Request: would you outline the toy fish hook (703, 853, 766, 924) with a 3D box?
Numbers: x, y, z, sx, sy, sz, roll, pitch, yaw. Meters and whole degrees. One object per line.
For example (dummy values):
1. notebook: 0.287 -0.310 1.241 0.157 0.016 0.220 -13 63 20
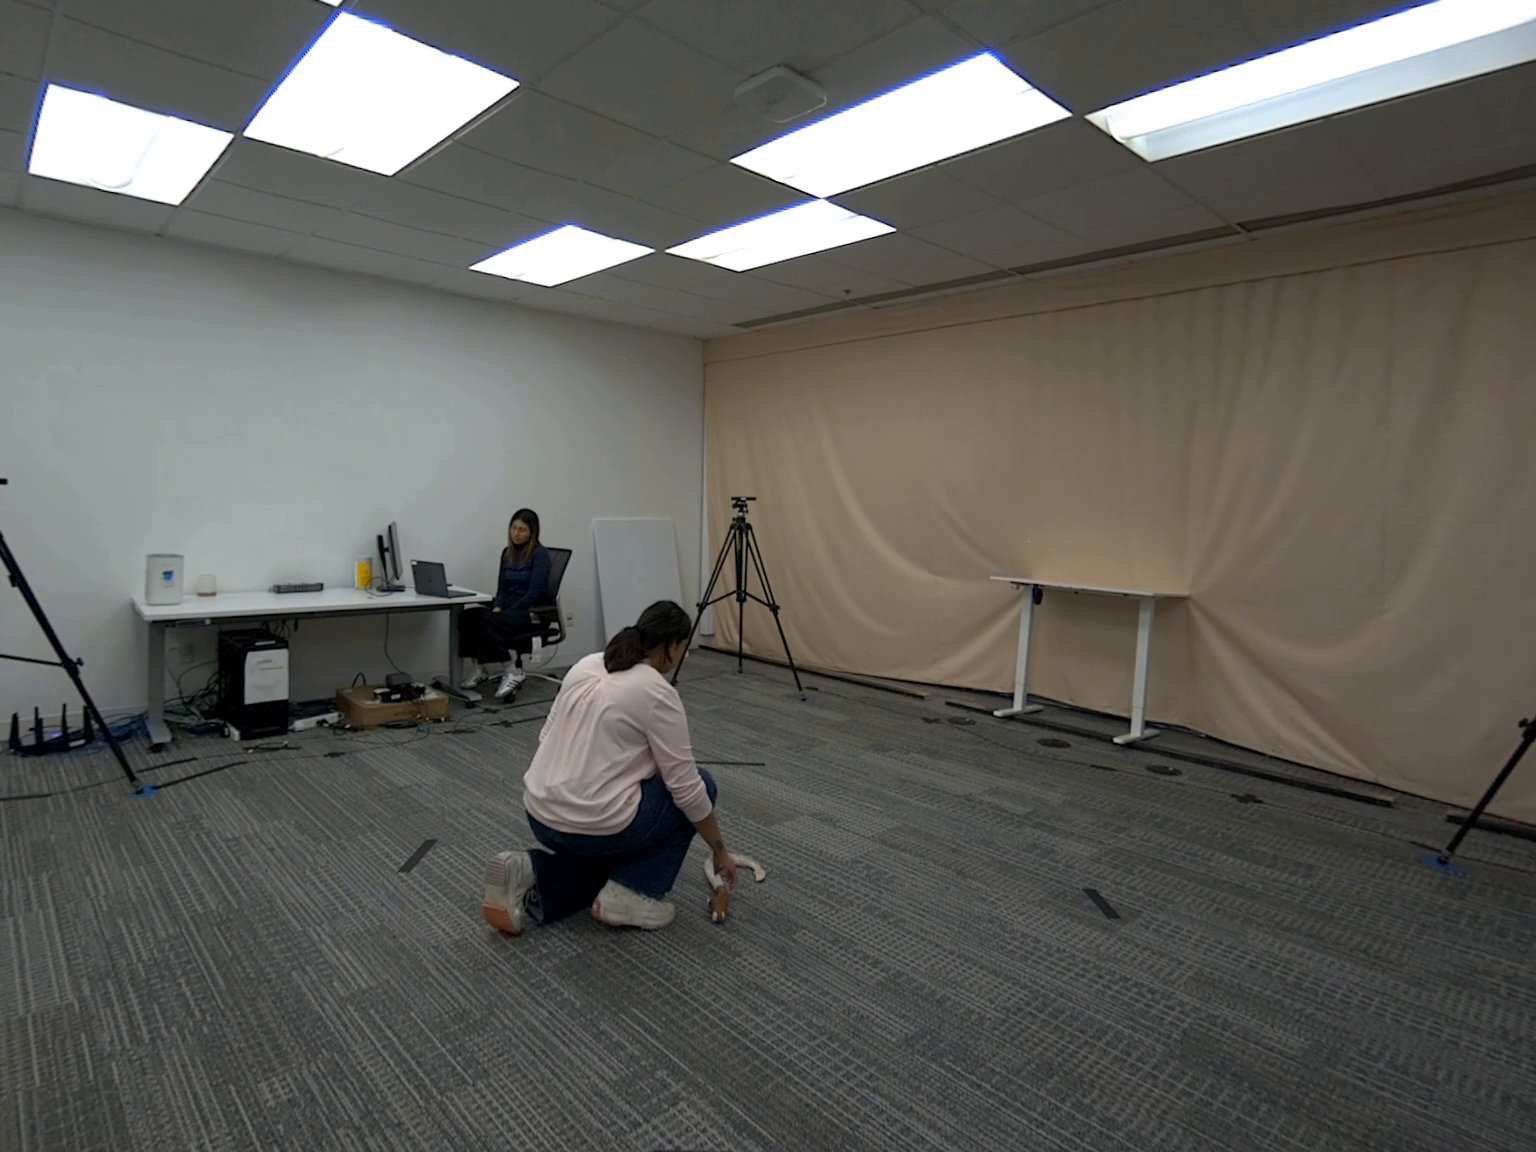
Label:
1. toy fish hook: -0.124 1.093 2.978 0.224 0.048 0.508 1 5 -2
